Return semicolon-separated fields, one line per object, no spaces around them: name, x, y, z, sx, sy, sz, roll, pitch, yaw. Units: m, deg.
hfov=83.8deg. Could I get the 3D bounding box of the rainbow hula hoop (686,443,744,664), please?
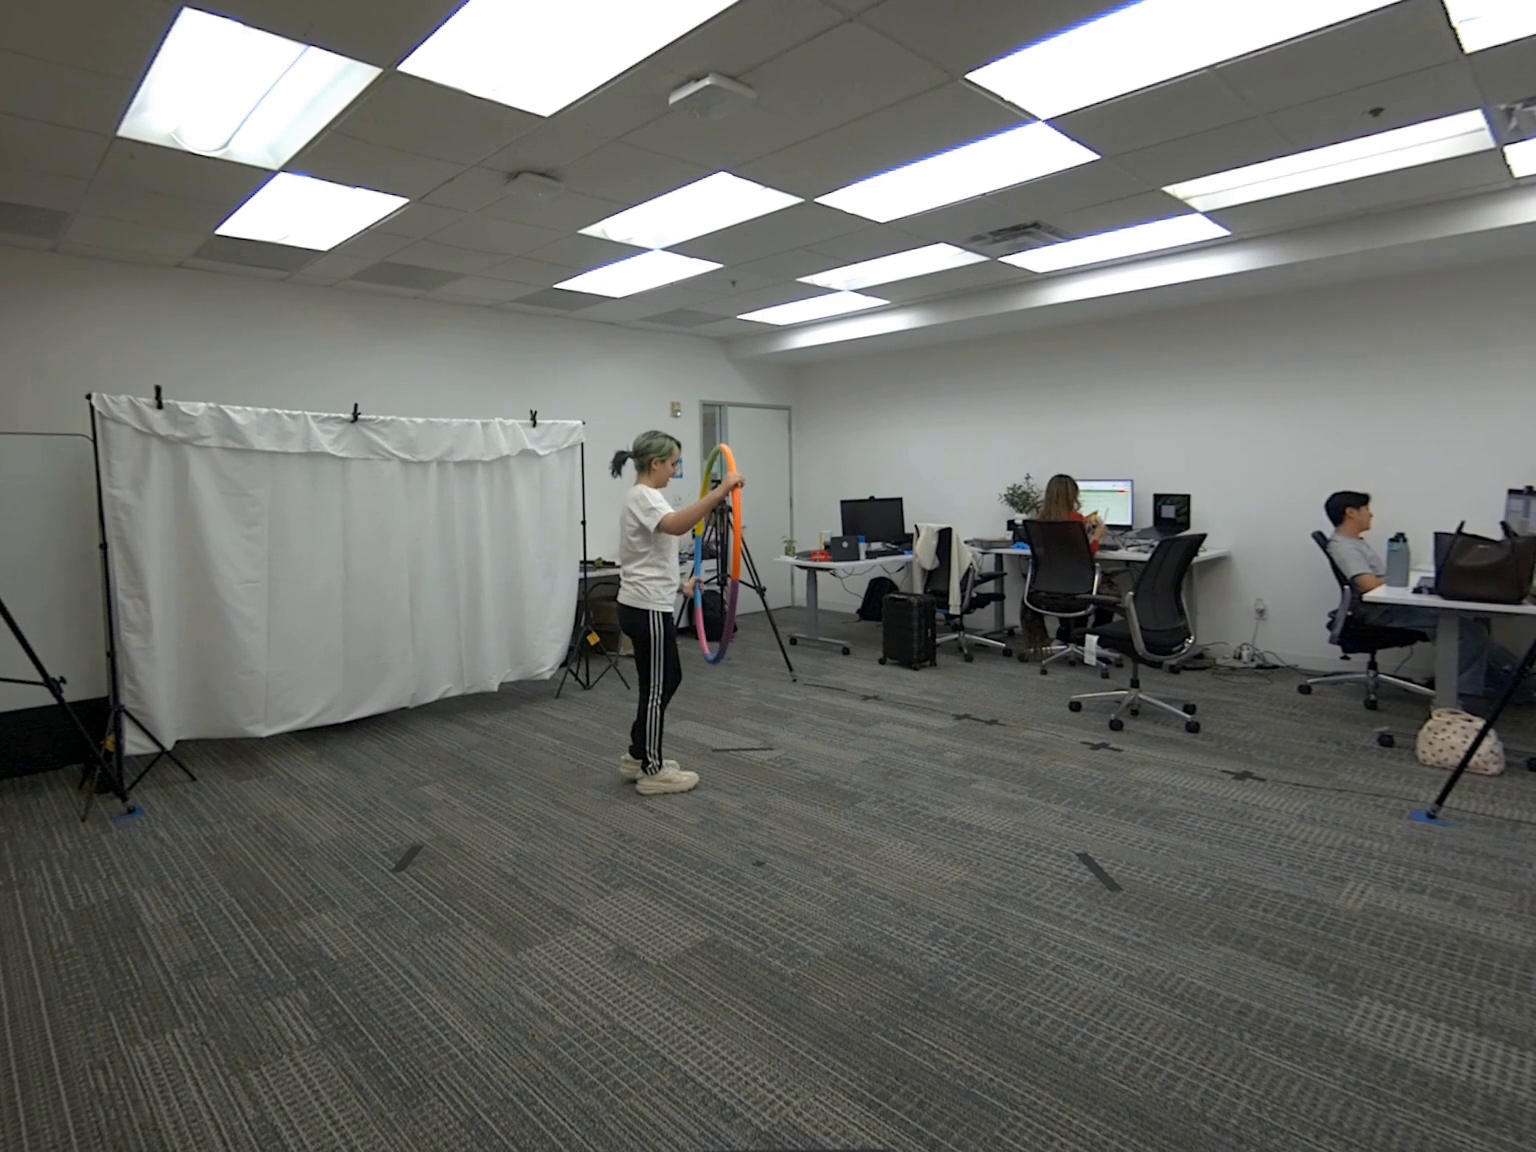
rainbow hula hoop;-0.239;-0.102;3.813;0.035;0.976;0.993;2;4;-14
